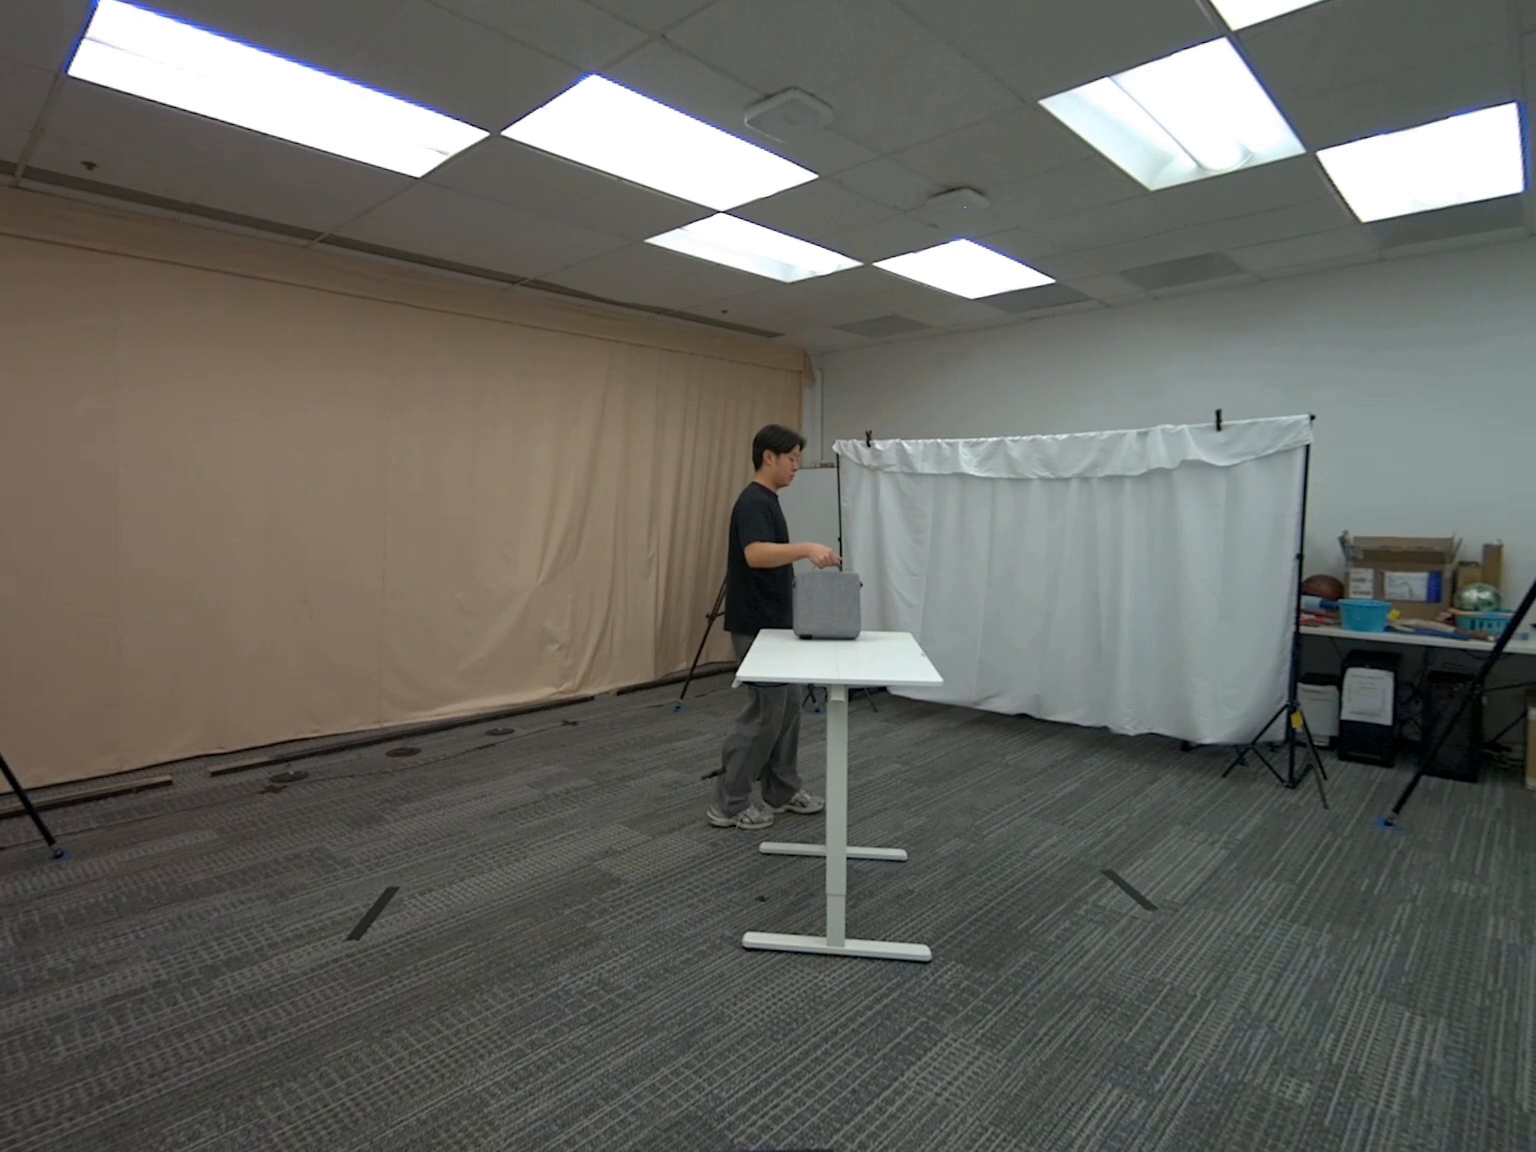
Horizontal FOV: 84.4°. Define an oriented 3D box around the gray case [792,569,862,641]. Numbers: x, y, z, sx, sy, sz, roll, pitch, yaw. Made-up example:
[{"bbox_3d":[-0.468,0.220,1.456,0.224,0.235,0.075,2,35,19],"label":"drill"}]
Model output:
[{"bbox_3d":[0.238,0.099,3.242,0.264,0.289,0.102,1,-13,1],"label":"gray case"}]
